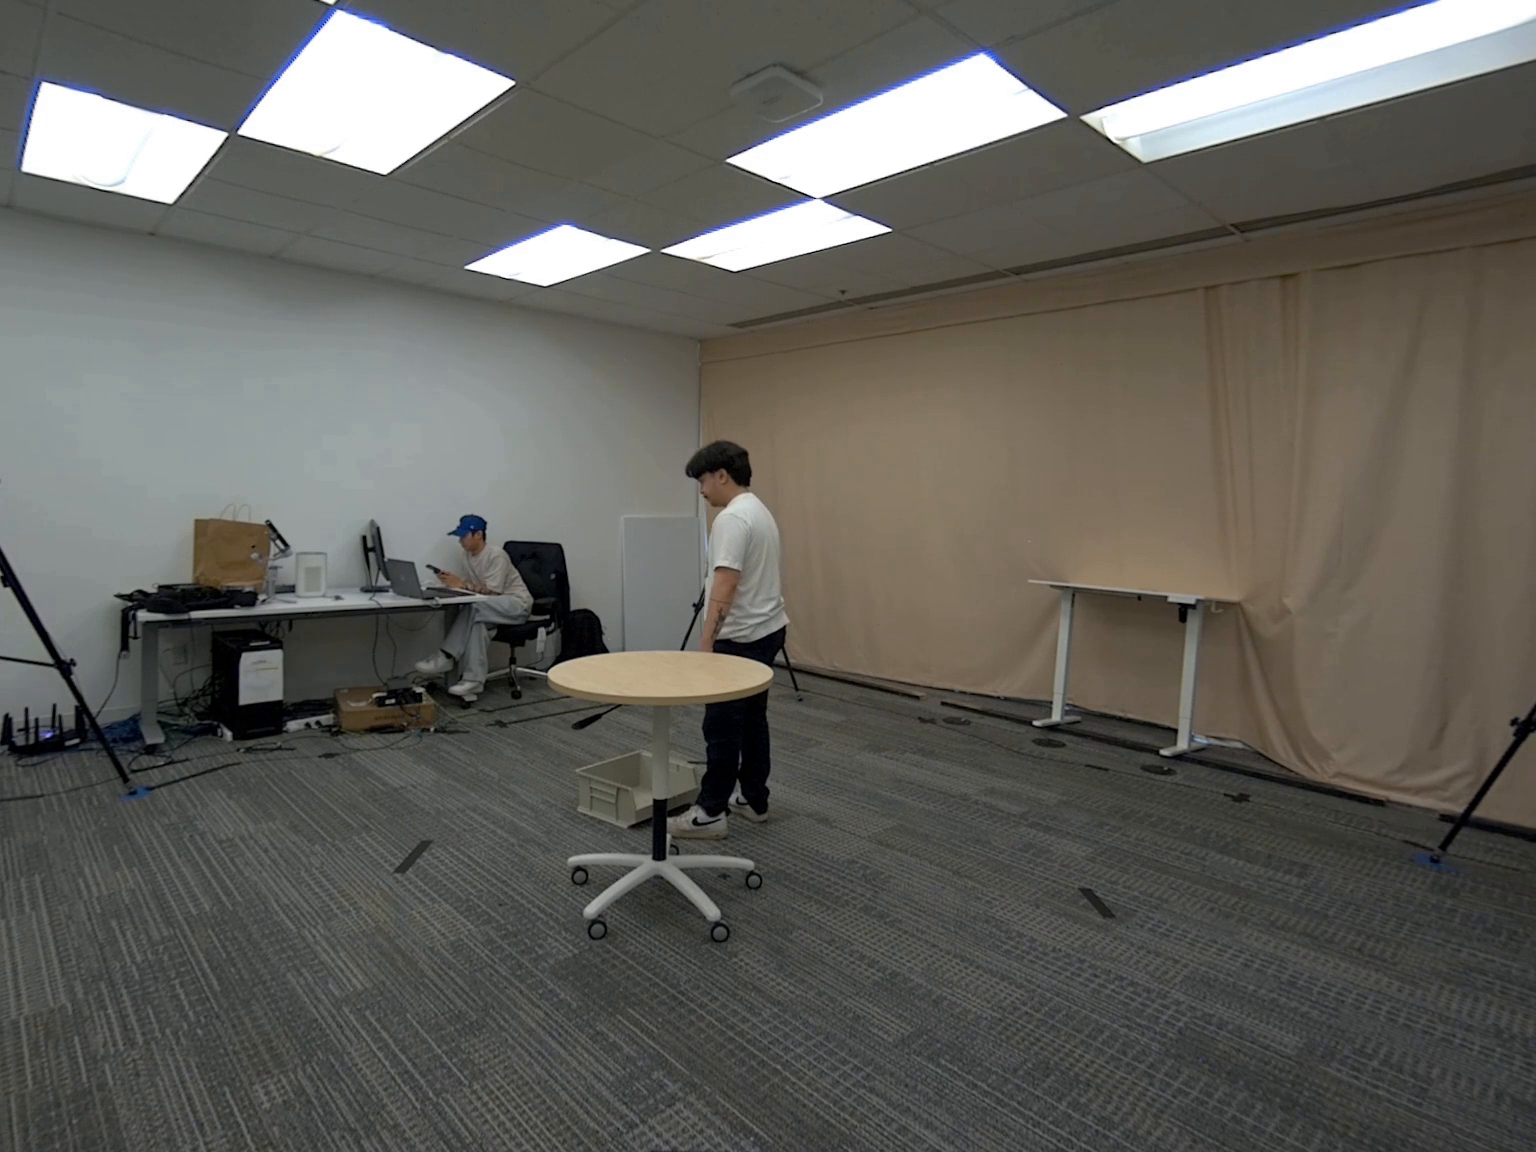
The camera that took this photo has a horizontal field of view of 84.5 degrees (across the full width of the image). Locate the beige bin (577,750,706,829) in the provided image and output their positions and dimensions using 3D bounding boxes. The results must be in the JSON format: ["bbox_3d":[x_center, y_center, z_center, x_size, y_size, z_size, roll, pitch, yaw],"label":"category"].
[{"bbox_3d":[-0.584,0.945,3.766,0.386,0.188,0.413,4,6,36],"label":"beige bin"}]
